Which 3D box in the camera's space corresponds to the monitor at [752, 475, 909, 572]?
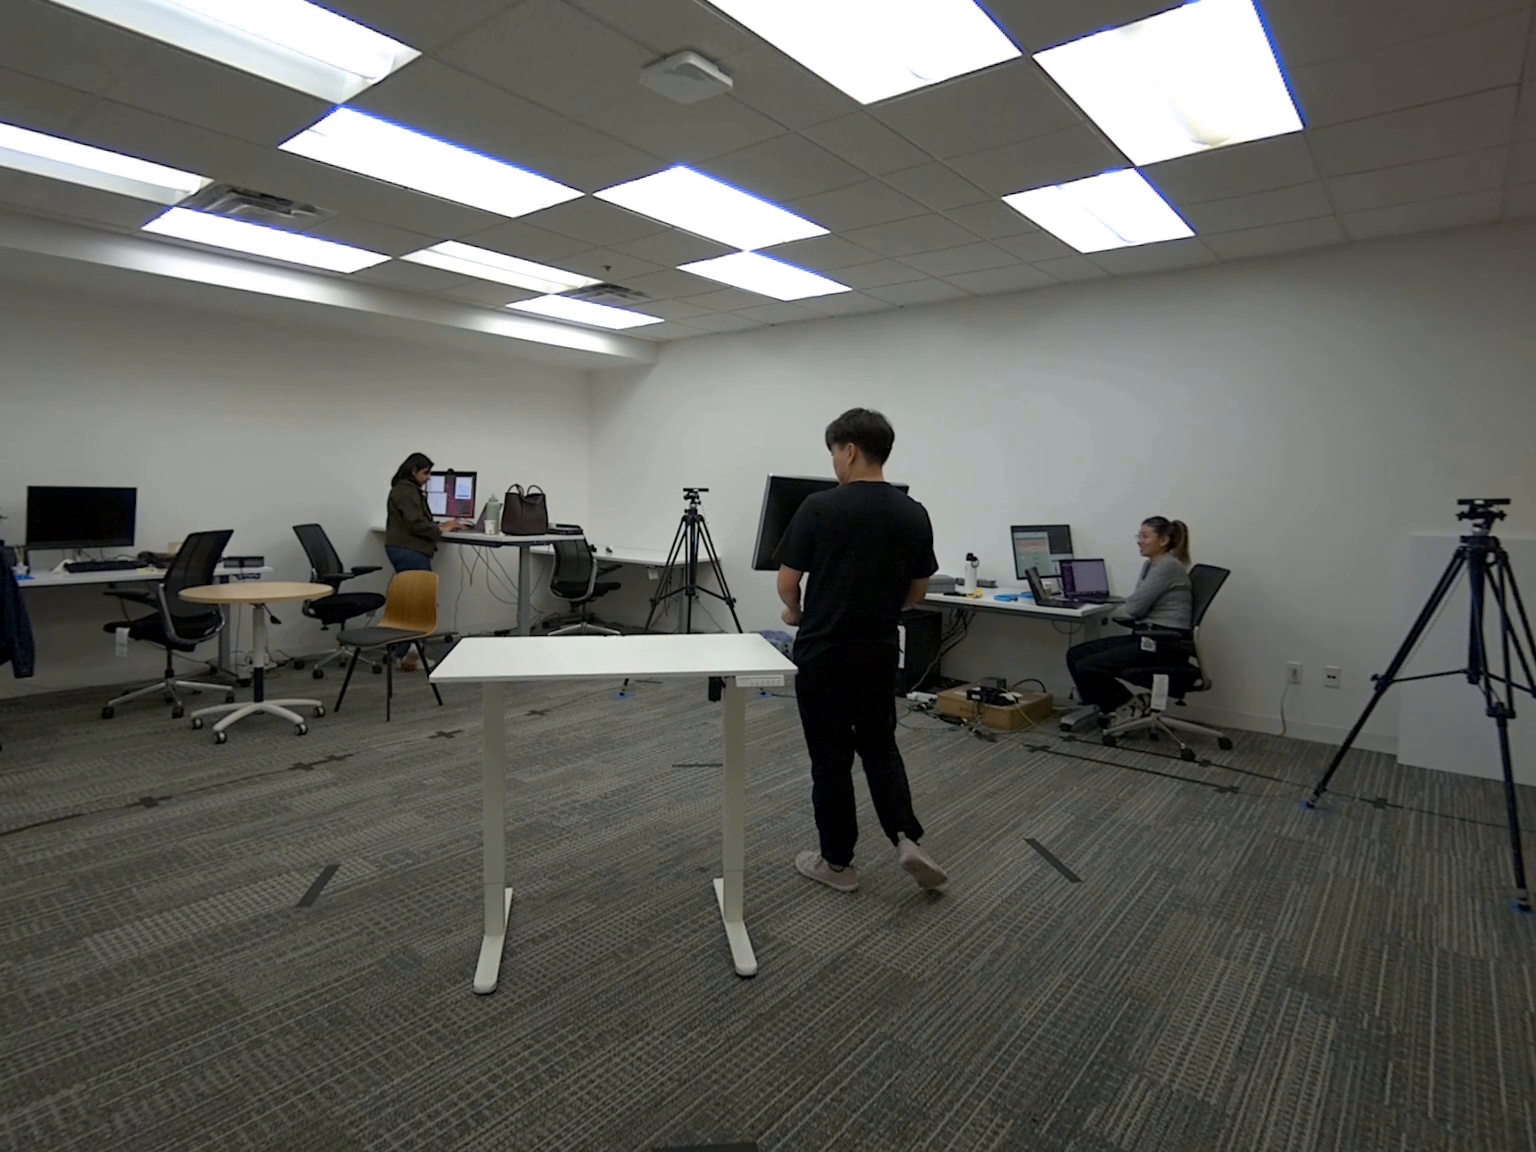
[{"bbox_3d":[0.228,-0.091,3.111,0.527,0.519,0.192,2,9,-21],"label":"monitor"}]
